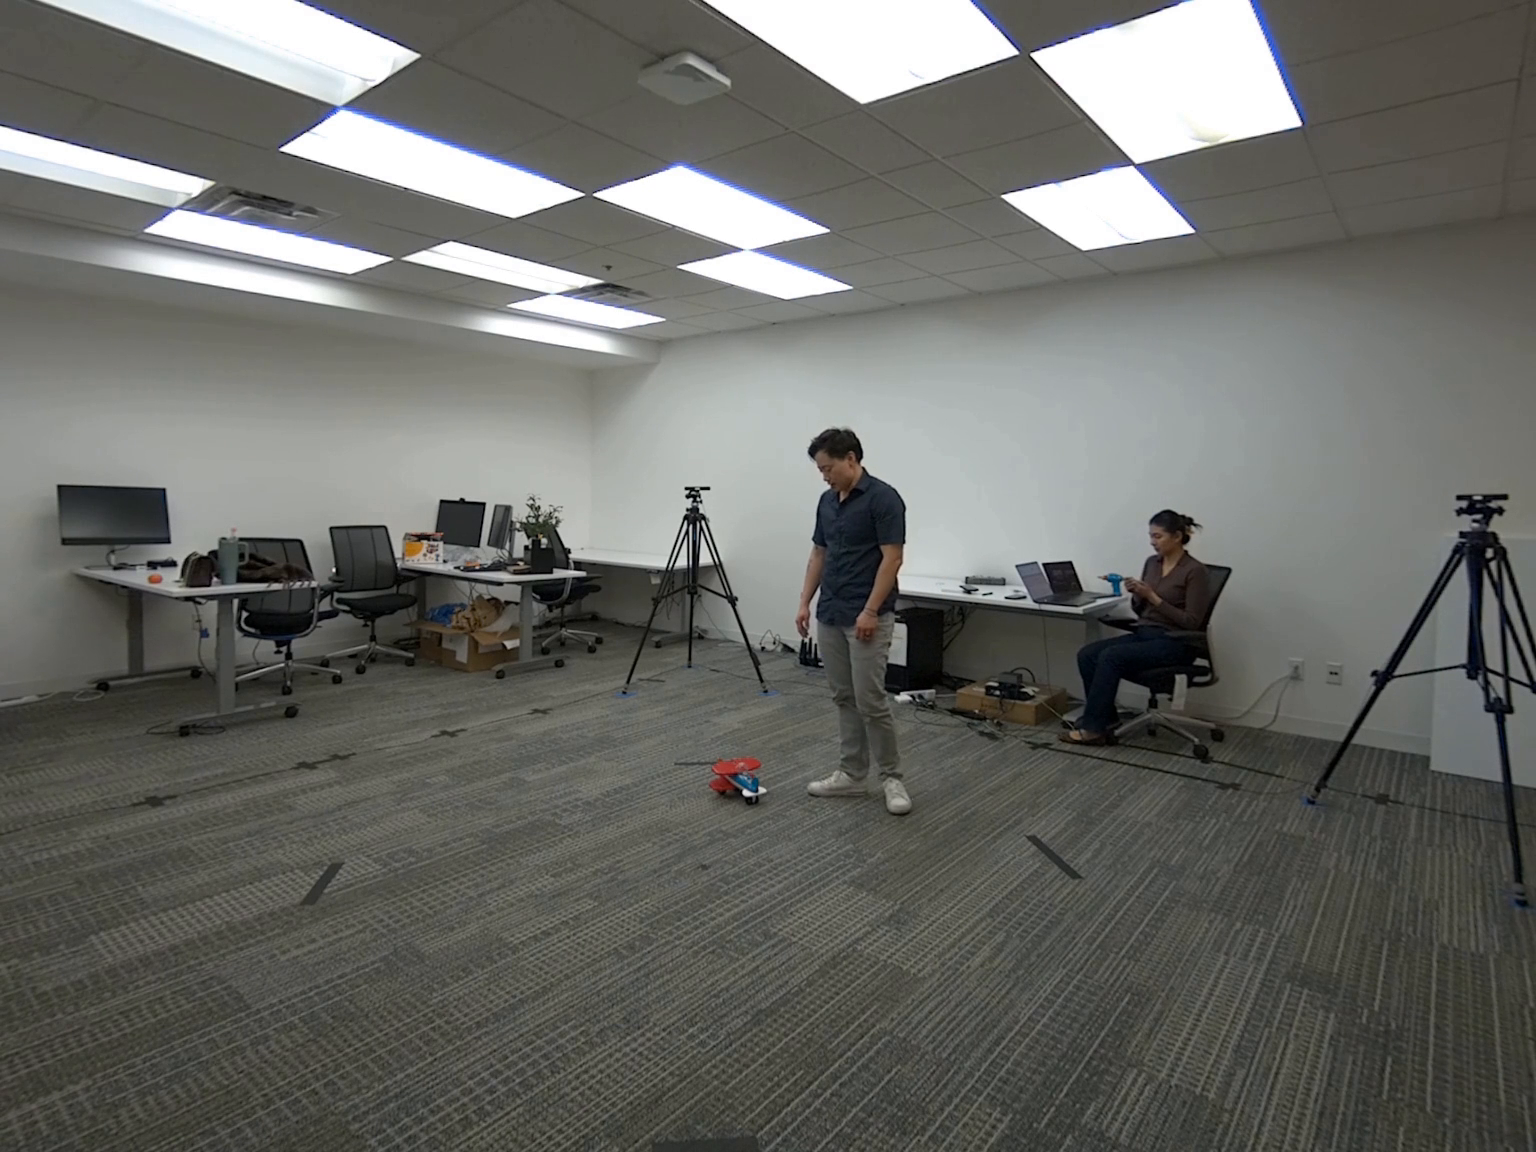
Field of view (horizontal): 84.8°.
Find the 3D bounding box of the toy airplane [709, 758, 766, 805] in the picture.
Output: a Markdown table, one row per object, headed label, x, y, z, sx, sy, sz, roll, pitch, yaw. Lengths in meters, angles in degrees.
| label | x | y | z | sx | sy | sz | roll | pitch | yaw |
| --- | --- | --- | --- | --- | --- | --- | --- | --- | --- |
| toy airplane | -0.122 | 0.919 | 3.846 | 0.266 | 0.156 | 0.245 | 3 | 5 | 25 |
